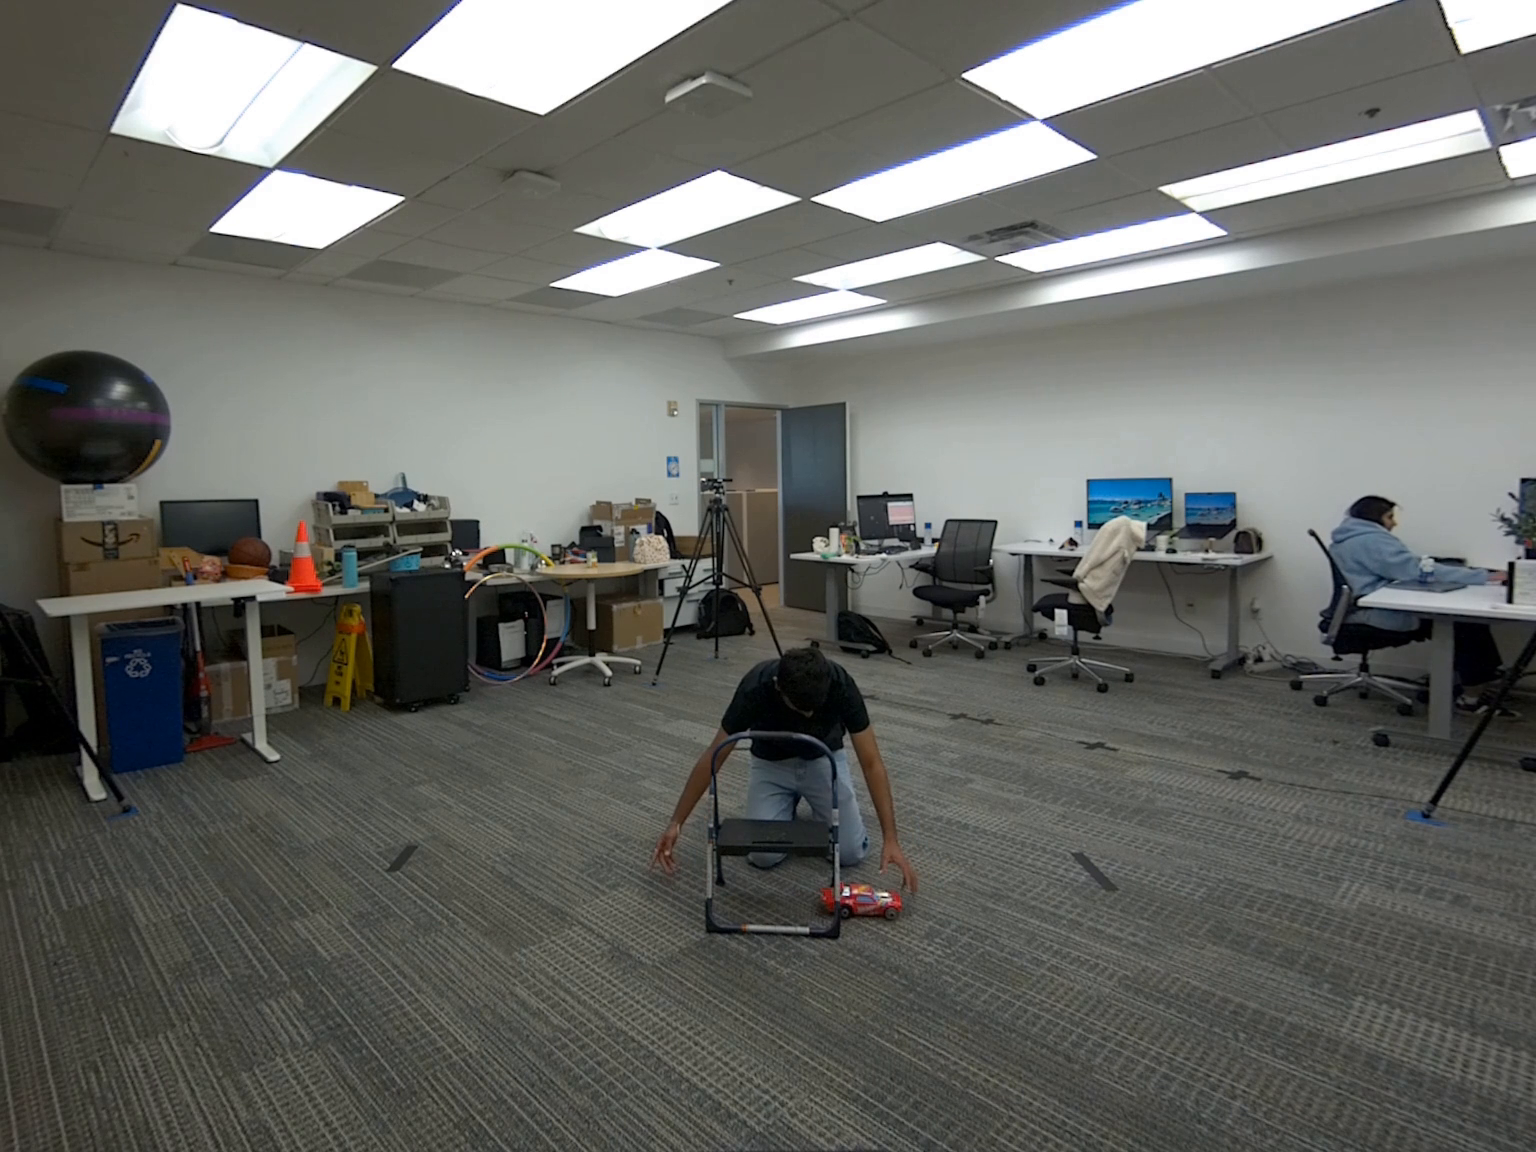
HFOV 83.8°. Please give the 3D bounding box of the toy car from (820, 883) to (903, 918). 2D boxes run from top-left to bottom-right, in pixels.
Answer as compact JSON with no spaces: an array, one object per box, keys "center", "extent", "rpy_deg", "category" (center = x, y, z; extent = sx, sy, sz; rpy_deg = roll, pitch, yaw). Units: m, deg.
[{"center":[0.307,1.064,2.741],"extent":[0.257,0.083,0.129],"rpy_deg":[14,5,8],"category":"toy car"}]
